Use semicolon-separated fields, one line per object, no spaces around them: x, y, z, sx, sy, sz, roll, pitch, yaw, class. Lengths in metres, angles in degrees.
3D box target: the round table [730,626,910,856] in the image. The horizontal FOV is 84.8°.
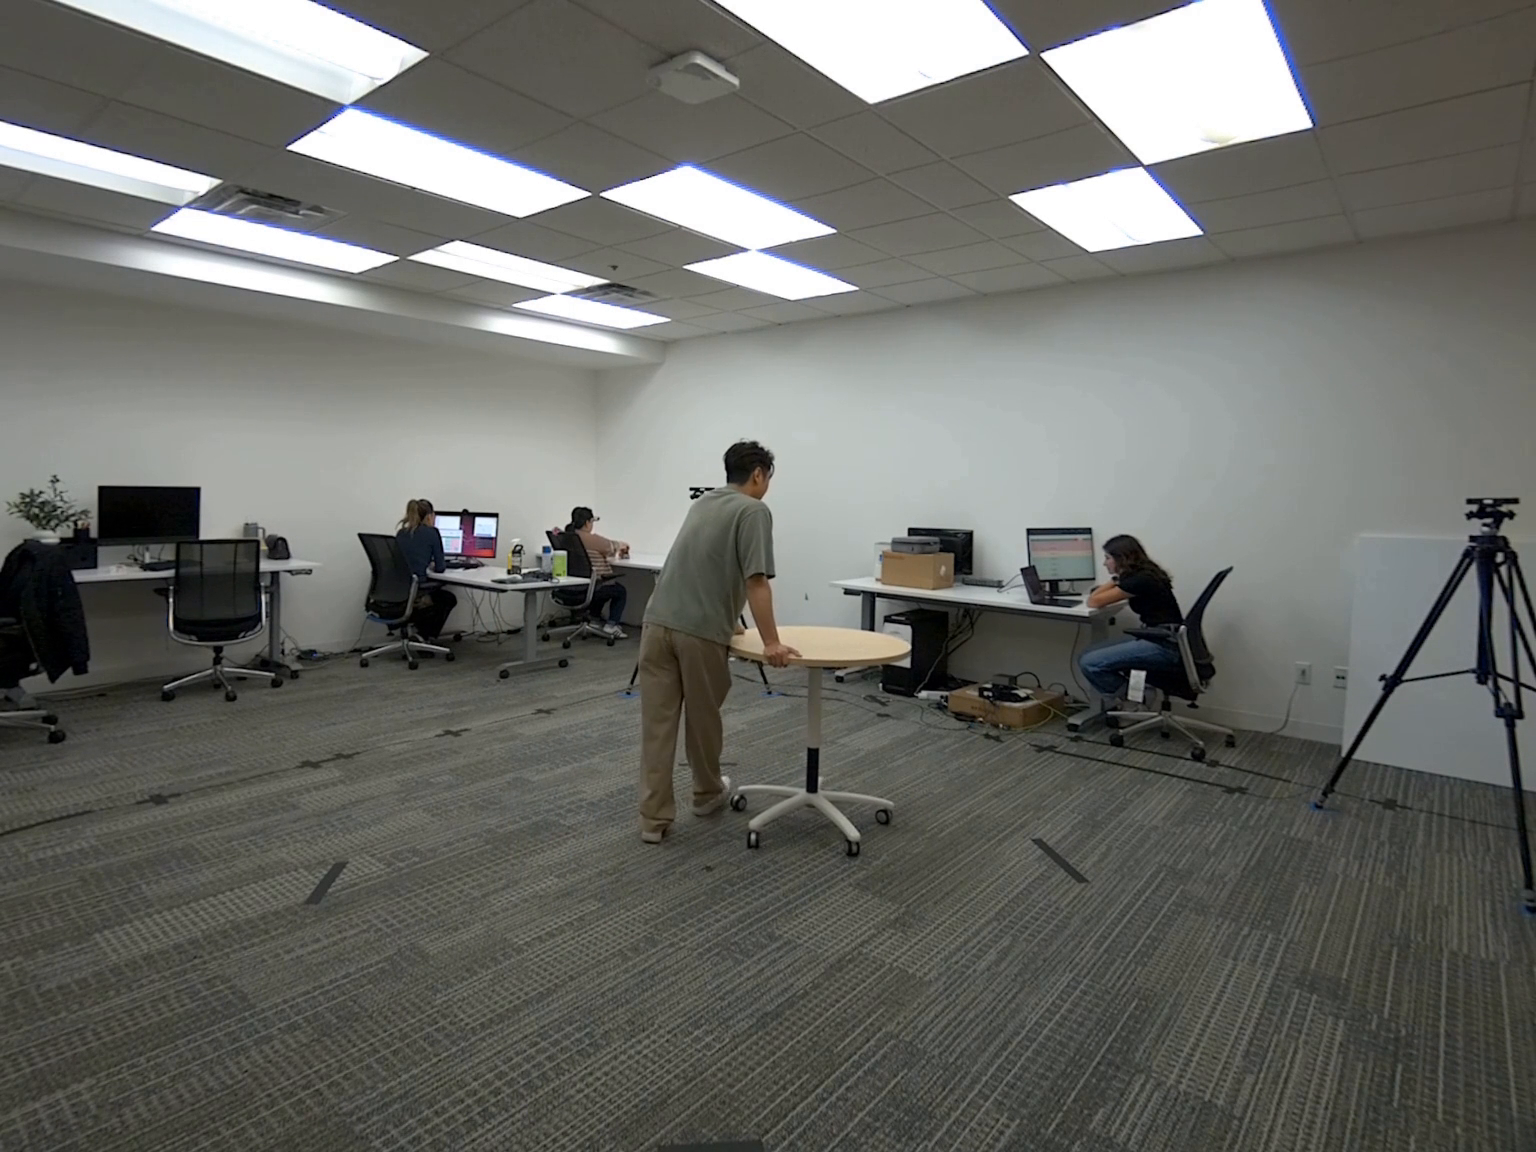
0.184;0.652;3.504;0.784;0.784;0.788;1;4;-2;round table
